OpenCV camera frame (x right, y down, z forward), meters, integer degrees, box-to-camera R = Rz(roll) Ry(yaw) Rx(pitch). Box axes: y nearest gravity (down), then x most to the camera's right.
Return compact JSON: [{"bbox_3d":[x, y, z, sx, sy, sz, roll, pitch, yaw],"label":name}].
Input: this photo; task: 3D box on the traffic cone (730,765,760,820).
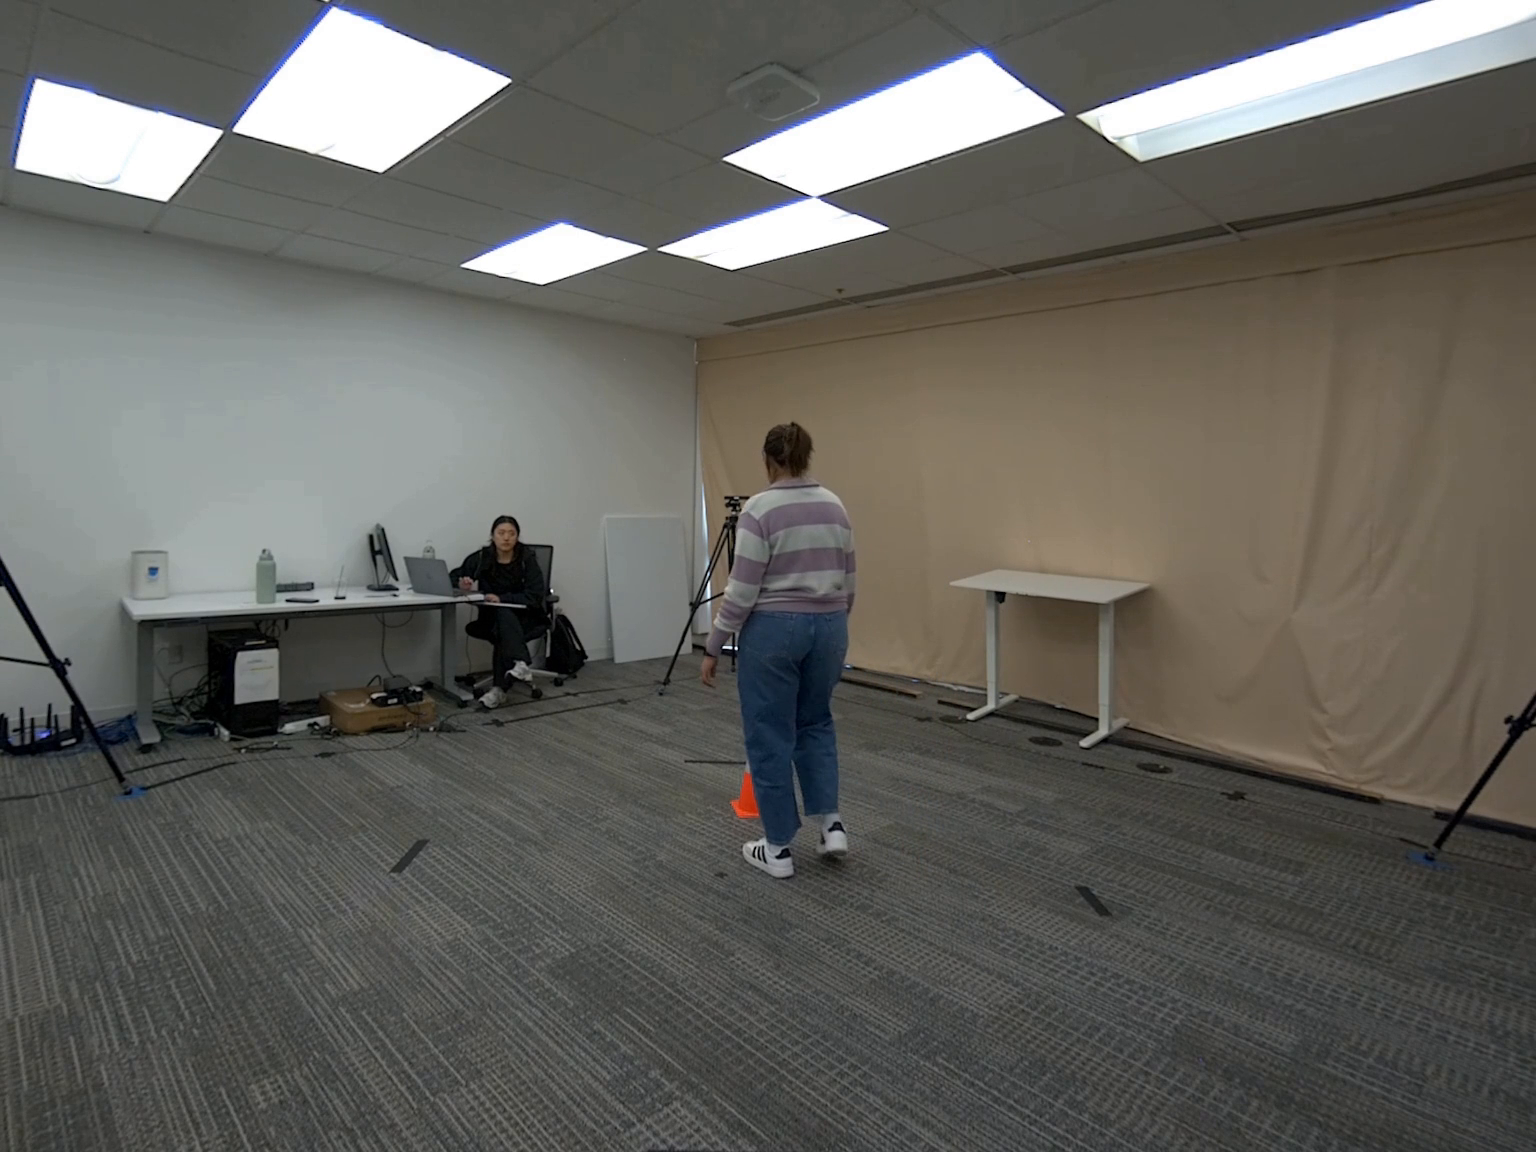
[{"bbox_3d":[-0.053,0.863,3.791,0.203,0.383,0.206,3,3,-13],"label":"traffic cone"}]
